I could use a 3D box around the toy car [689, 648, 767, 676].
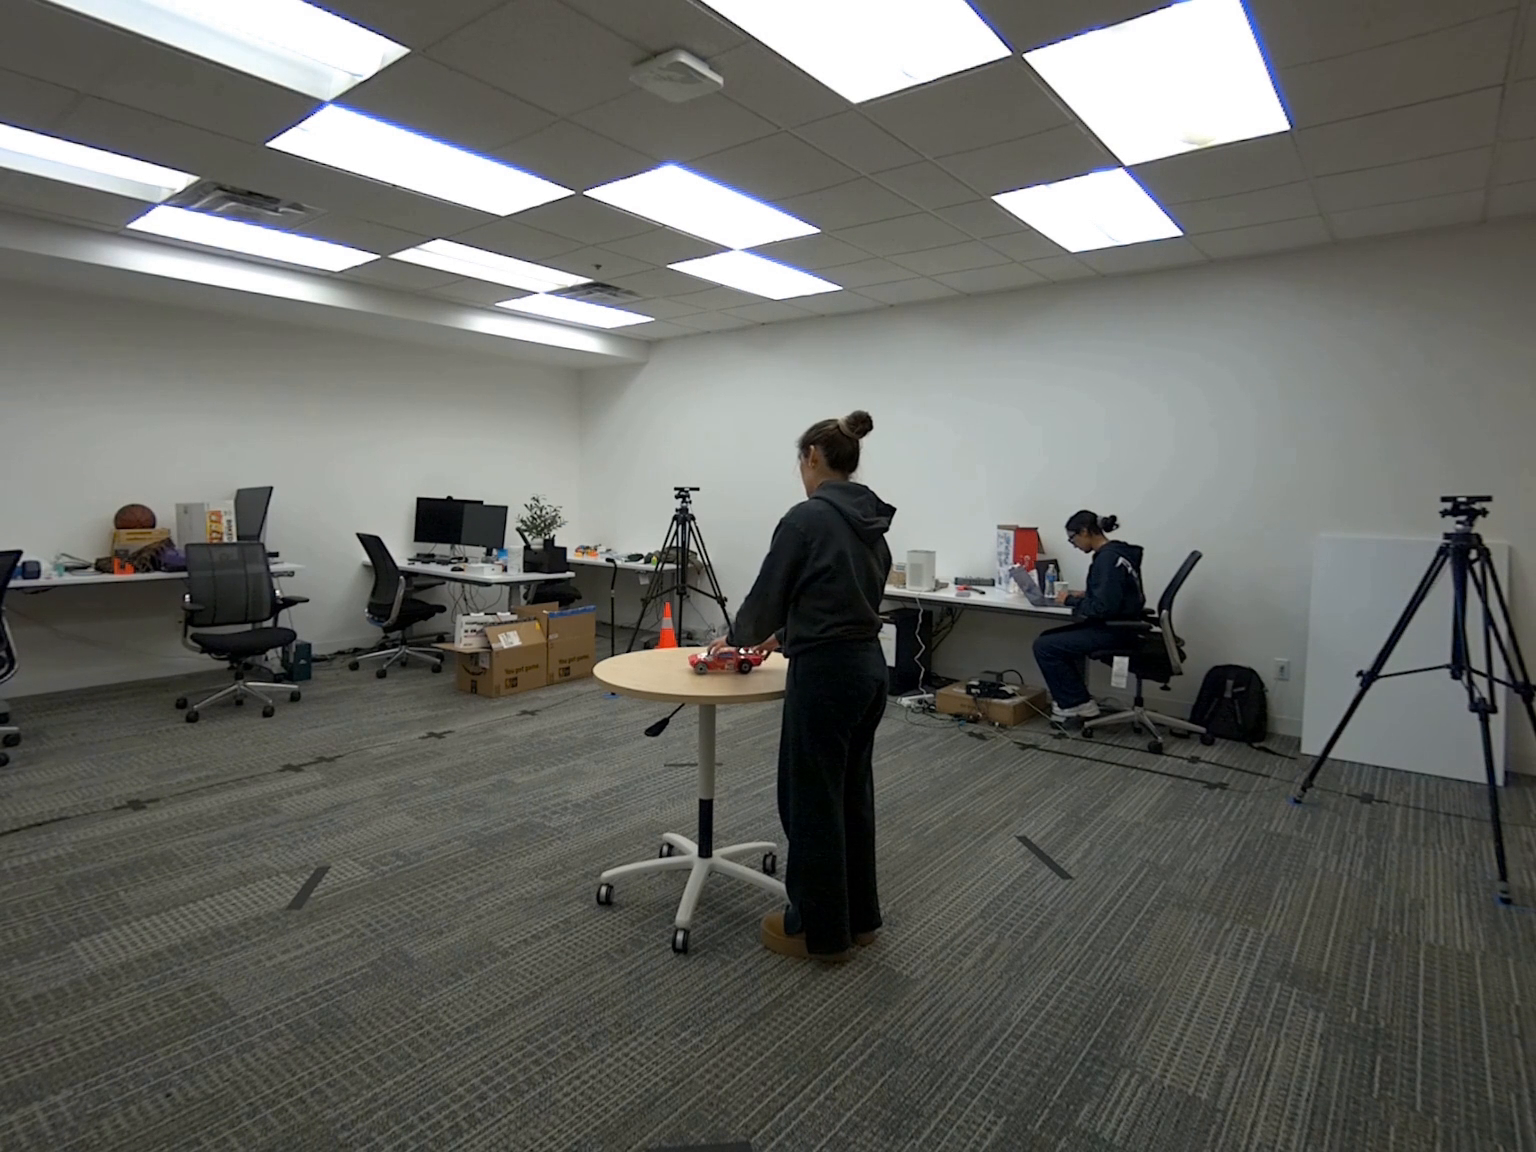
[{"bbox_3d":[-0.141,0.283,2.816,0.253,0.082,0.132,-10,7,-7],"label":"toy car"}]
